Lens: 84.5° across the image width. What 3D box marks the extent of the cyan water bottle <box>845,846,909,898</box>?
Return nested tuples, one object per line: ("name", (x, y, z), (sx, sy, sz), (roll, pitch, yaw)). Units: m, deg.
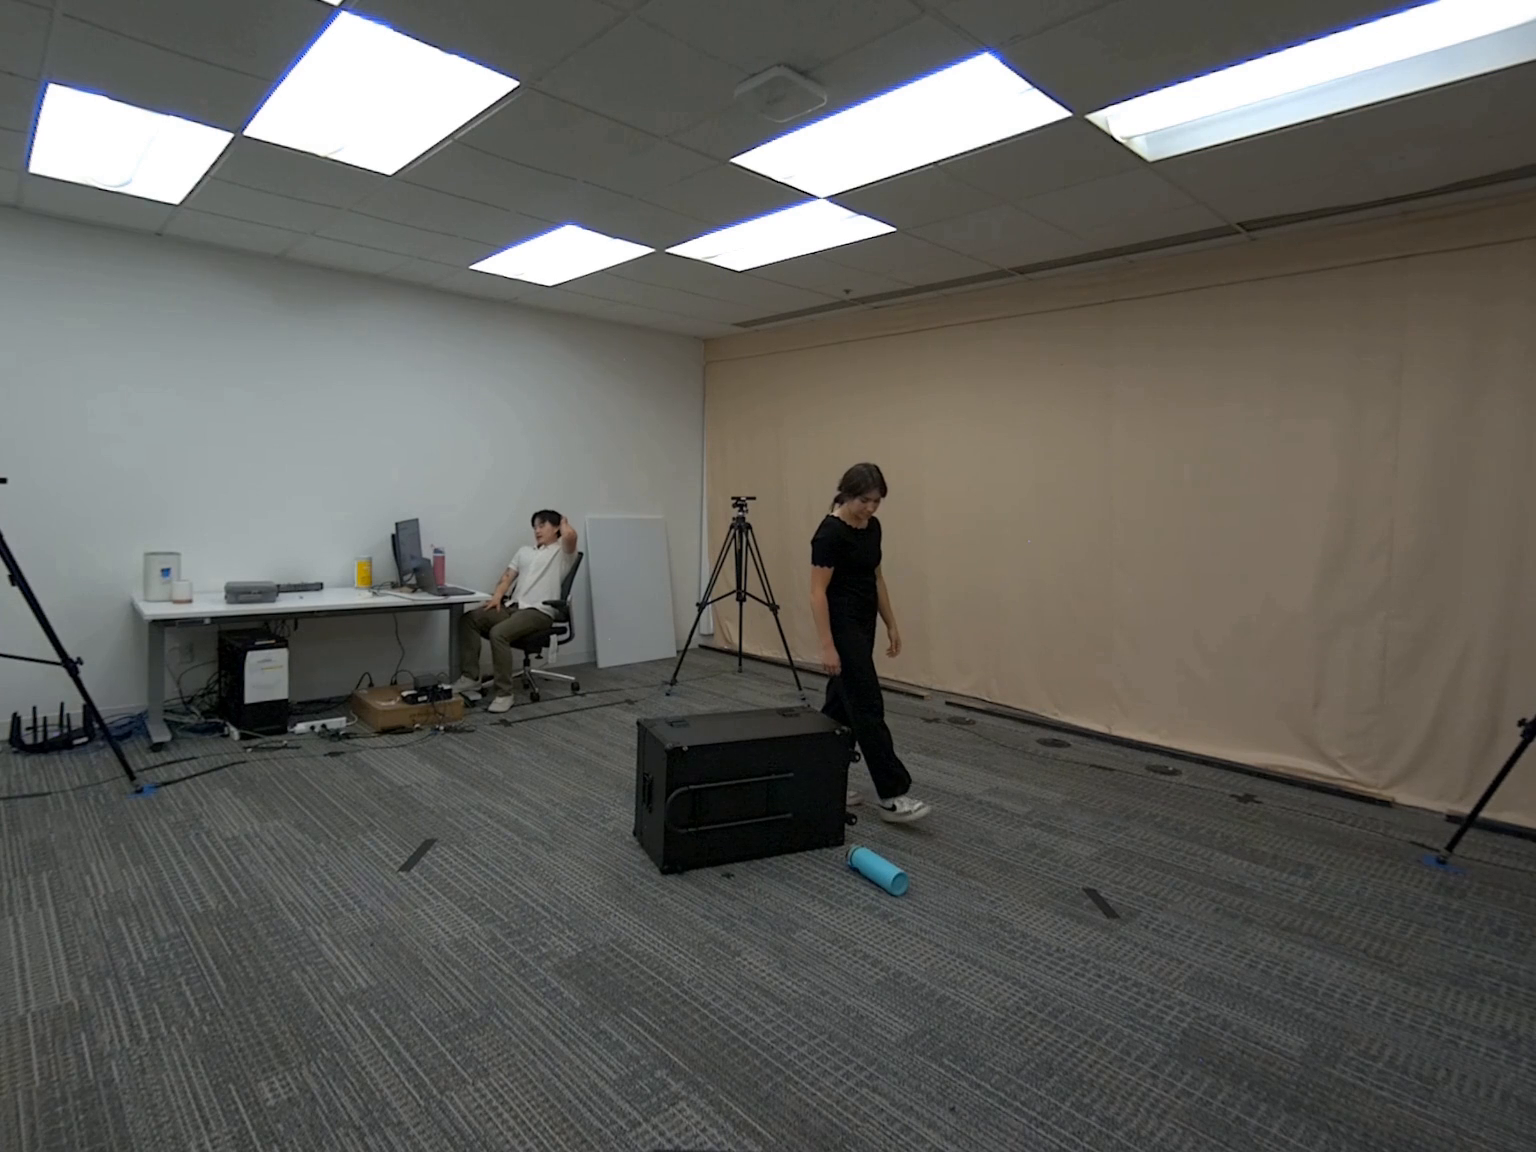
("cyan water bottle", (0.375, 1.071, 3.091), (0.090, 0.092, 0.290), (-1, 6, -31))
